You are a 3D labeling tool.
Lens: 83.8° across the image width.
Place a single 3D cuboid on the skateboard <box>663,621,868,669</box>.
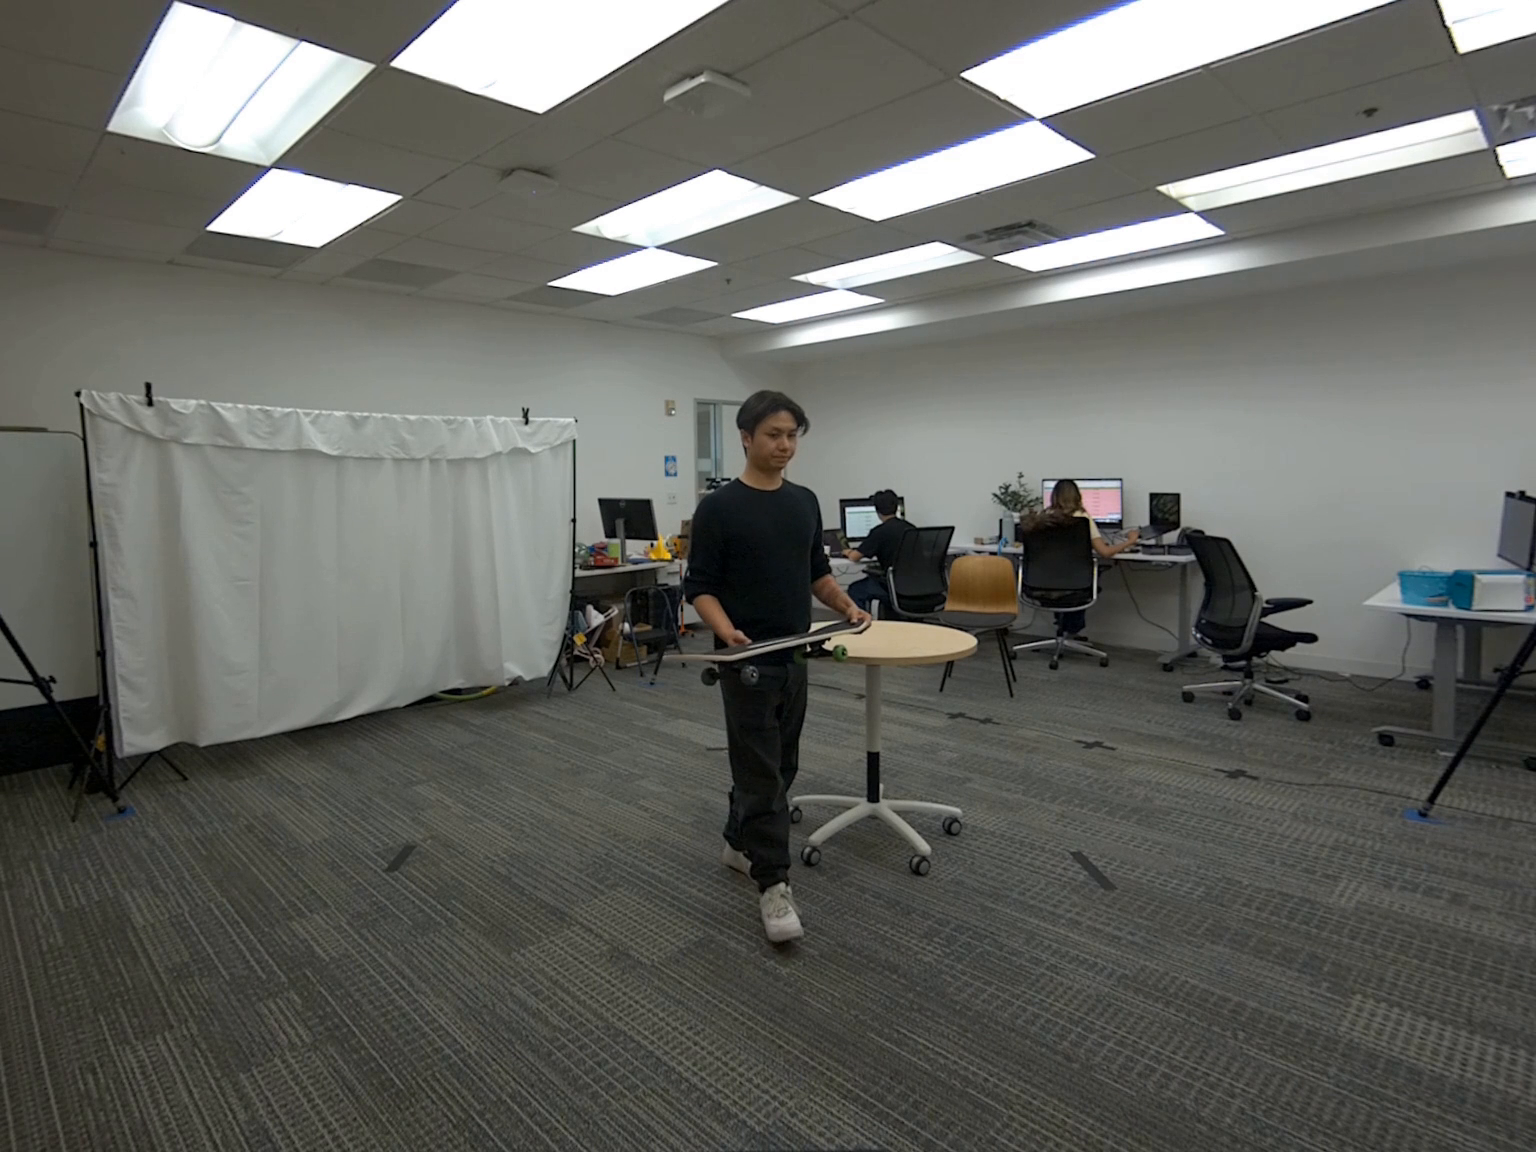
[{"bbox_3d":[0.018,0.228,2.453,0.198,0.110,0.765,-9,-1,42],"label":"skateboard"}]
